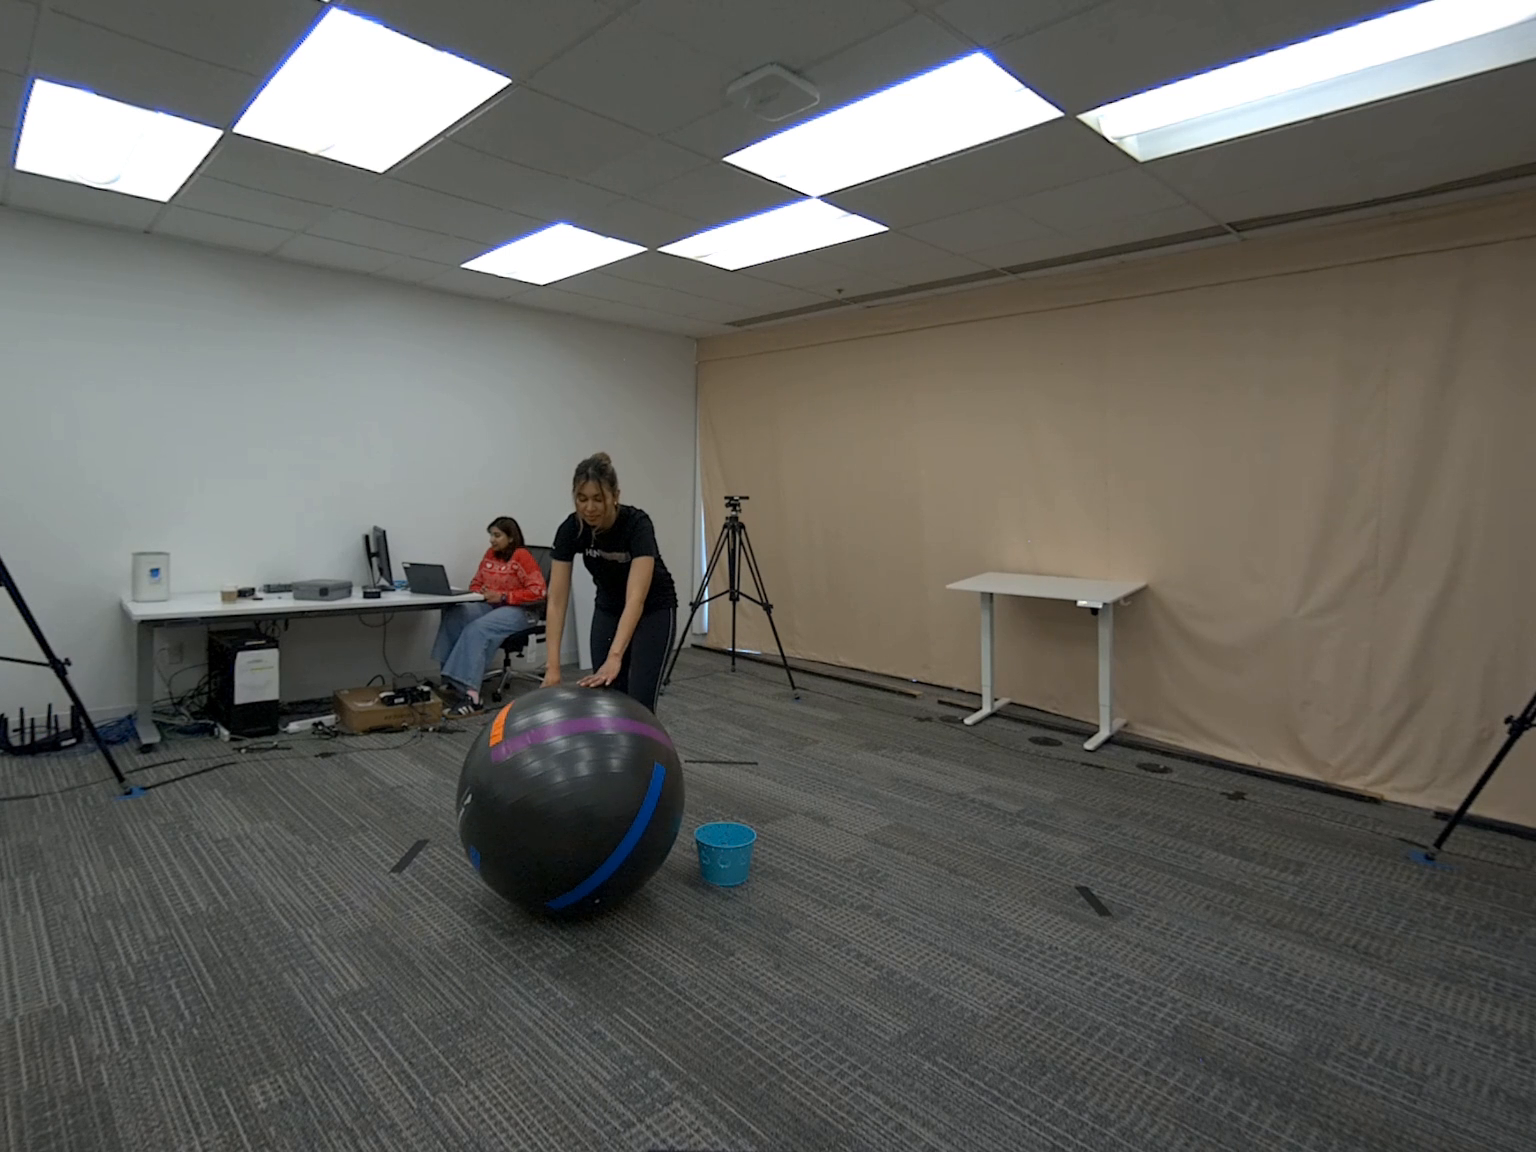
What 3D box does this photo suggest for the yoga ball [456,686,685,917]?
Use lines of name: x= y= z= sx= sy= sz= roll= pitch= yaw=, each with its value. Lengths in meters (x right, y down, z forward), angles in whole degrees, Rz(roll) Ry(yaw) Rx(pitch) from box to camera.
yoga ball: x=-0.666 y=0.751 z=2.852 sx=0.757 sy=0.756 sz=0.761 roll=1 pitch=4 yaw=-1
